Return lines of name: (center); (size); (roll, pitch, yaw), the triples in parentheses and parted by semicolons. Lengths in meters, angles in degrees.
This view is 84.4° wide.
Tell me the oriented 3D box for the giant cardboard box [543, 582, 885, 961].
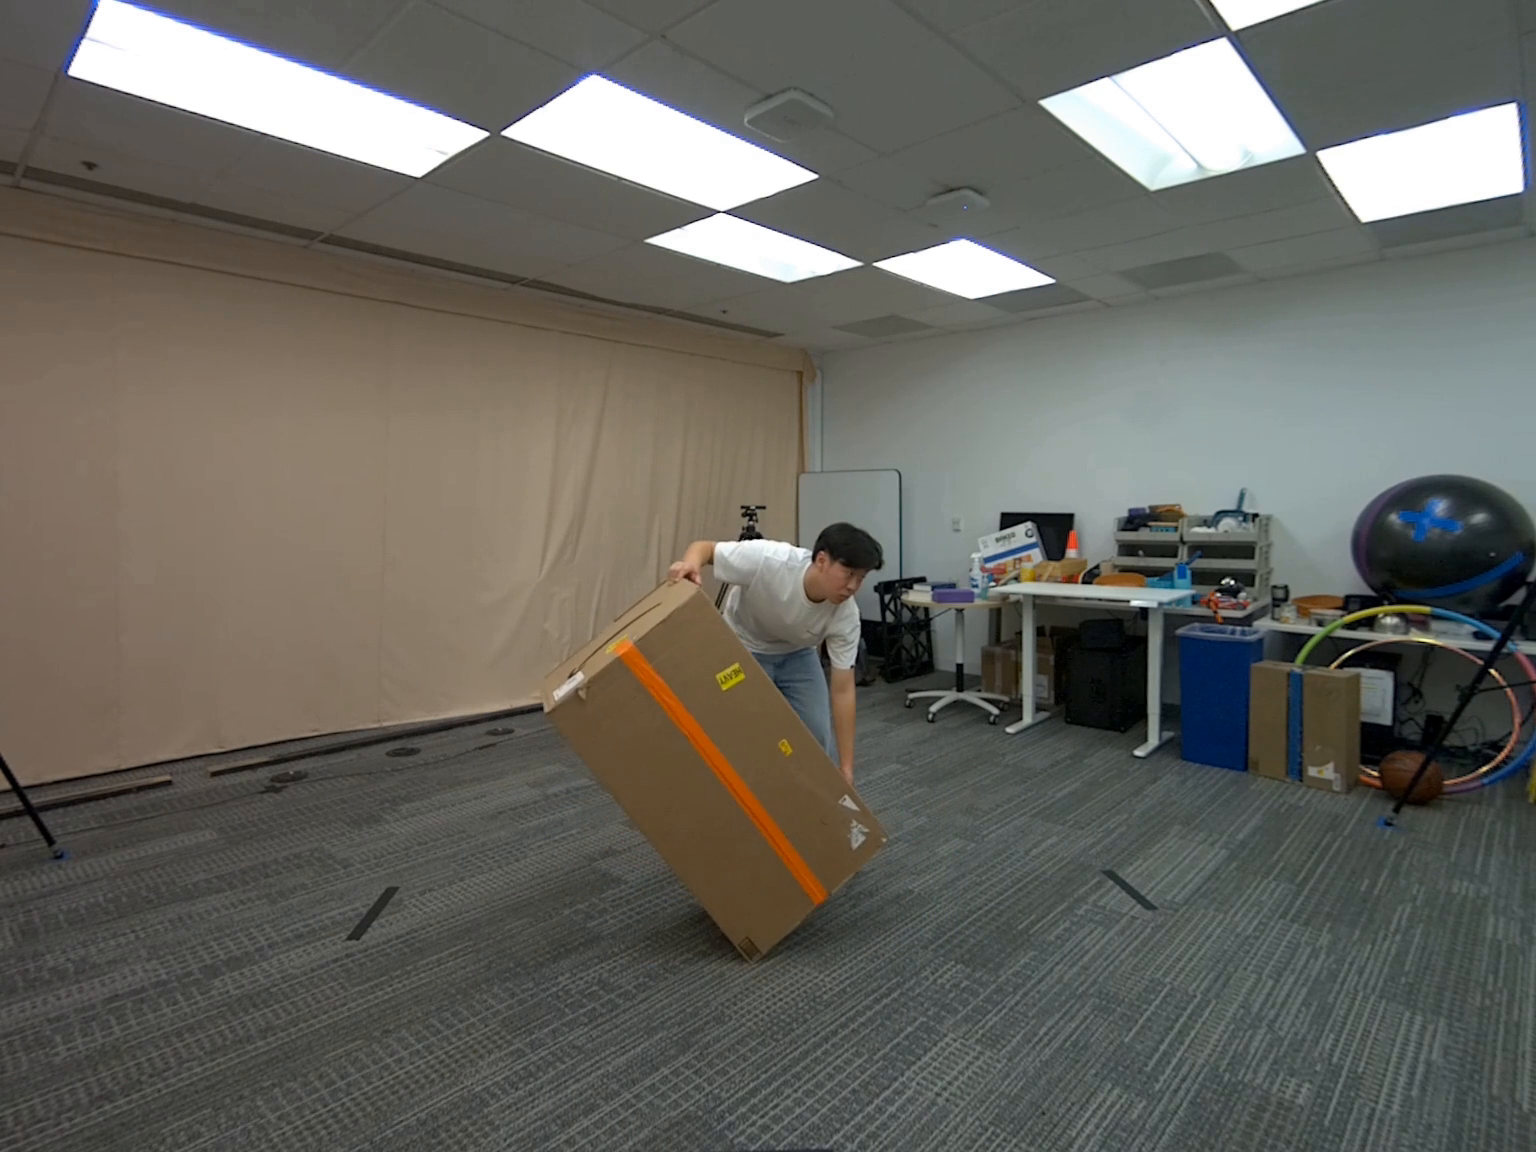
giant cardboard box: (-0.179, 0.595, 2.702); (0.575, 1.012, 0.434); (-39, 12, -10)
